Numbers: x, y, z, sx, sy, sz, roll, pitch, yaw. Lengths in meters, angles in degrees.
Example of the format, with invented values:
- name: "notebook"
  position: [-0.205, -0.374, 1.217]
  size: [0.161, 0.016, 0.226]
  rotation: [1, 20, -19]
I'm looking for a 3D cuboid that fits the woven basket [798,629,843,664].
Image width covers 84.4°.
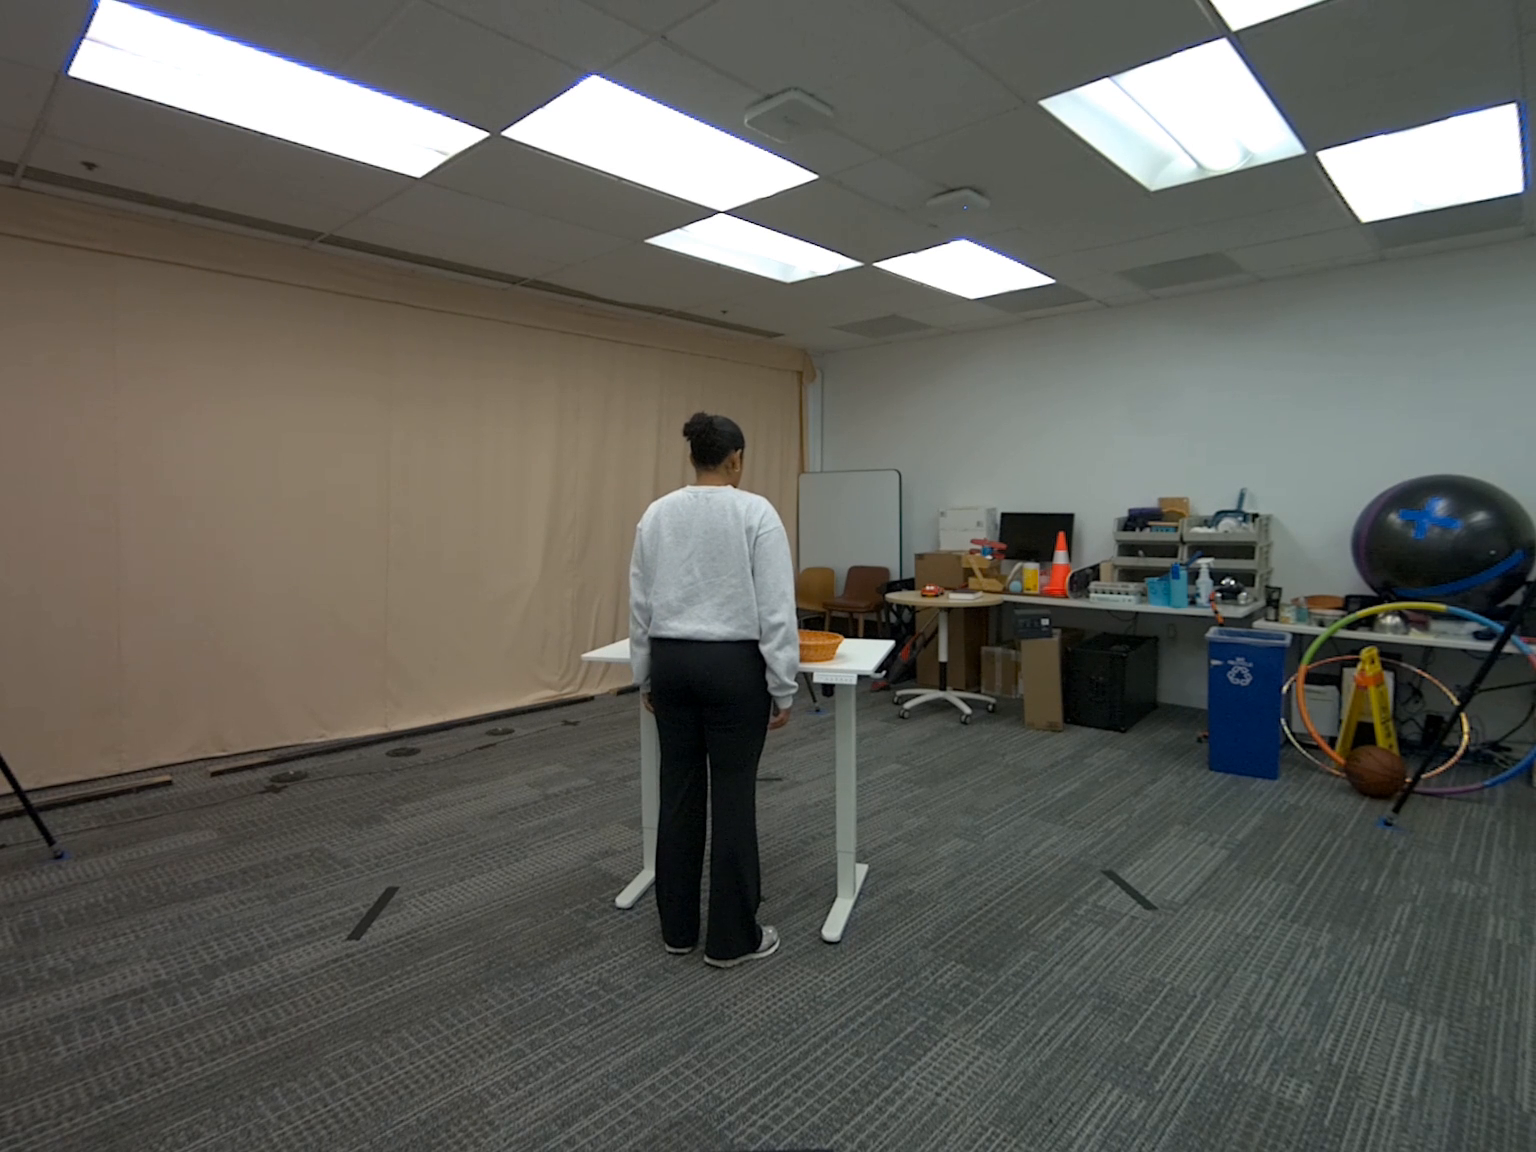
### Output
- name: "woven basket"
  position: [0.088, 0.243, 2.825]
  size: [0.361, 0.073, 0.245]
  rotation: [2, 5, 33]
